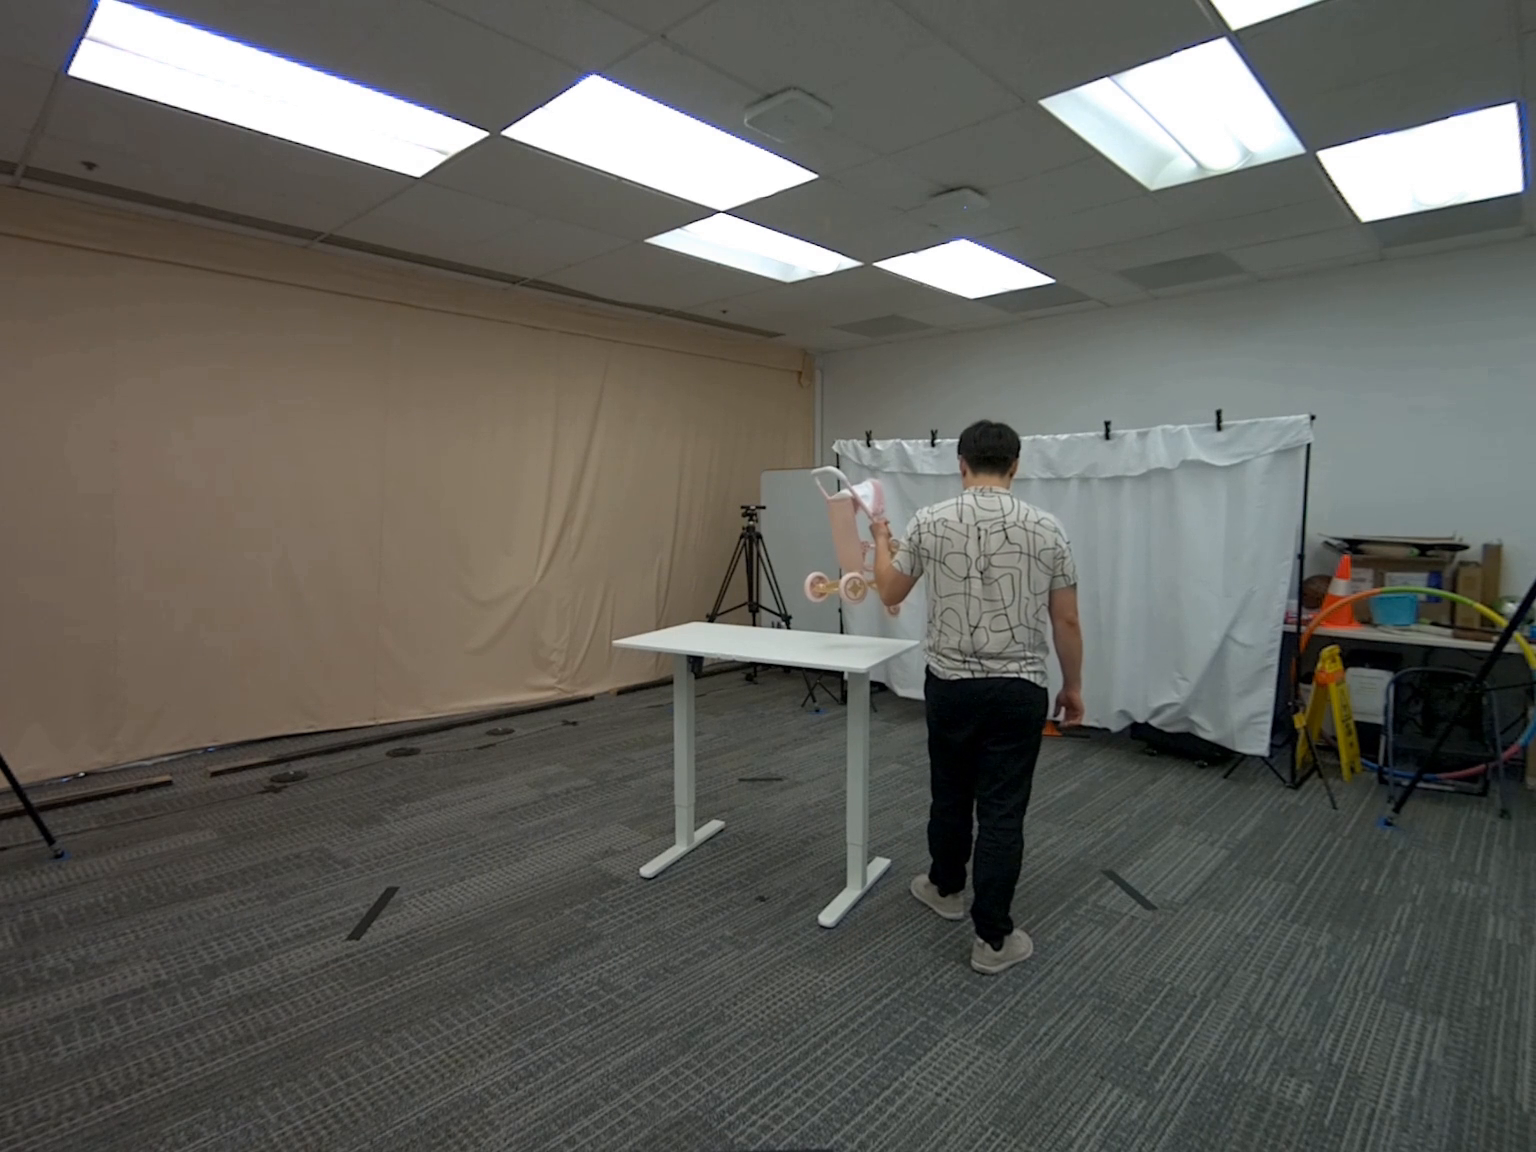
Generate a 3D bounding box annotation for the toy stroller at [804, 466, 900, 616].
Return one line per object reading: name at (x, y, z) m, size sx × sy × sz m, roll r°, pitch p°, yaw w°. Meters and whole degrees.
toy stroller at (0.346, -0.116, 3.031) m, size 0.335 × 0.535 × 0.287 m, roll 1°, pitch -2°, yaw -20°
